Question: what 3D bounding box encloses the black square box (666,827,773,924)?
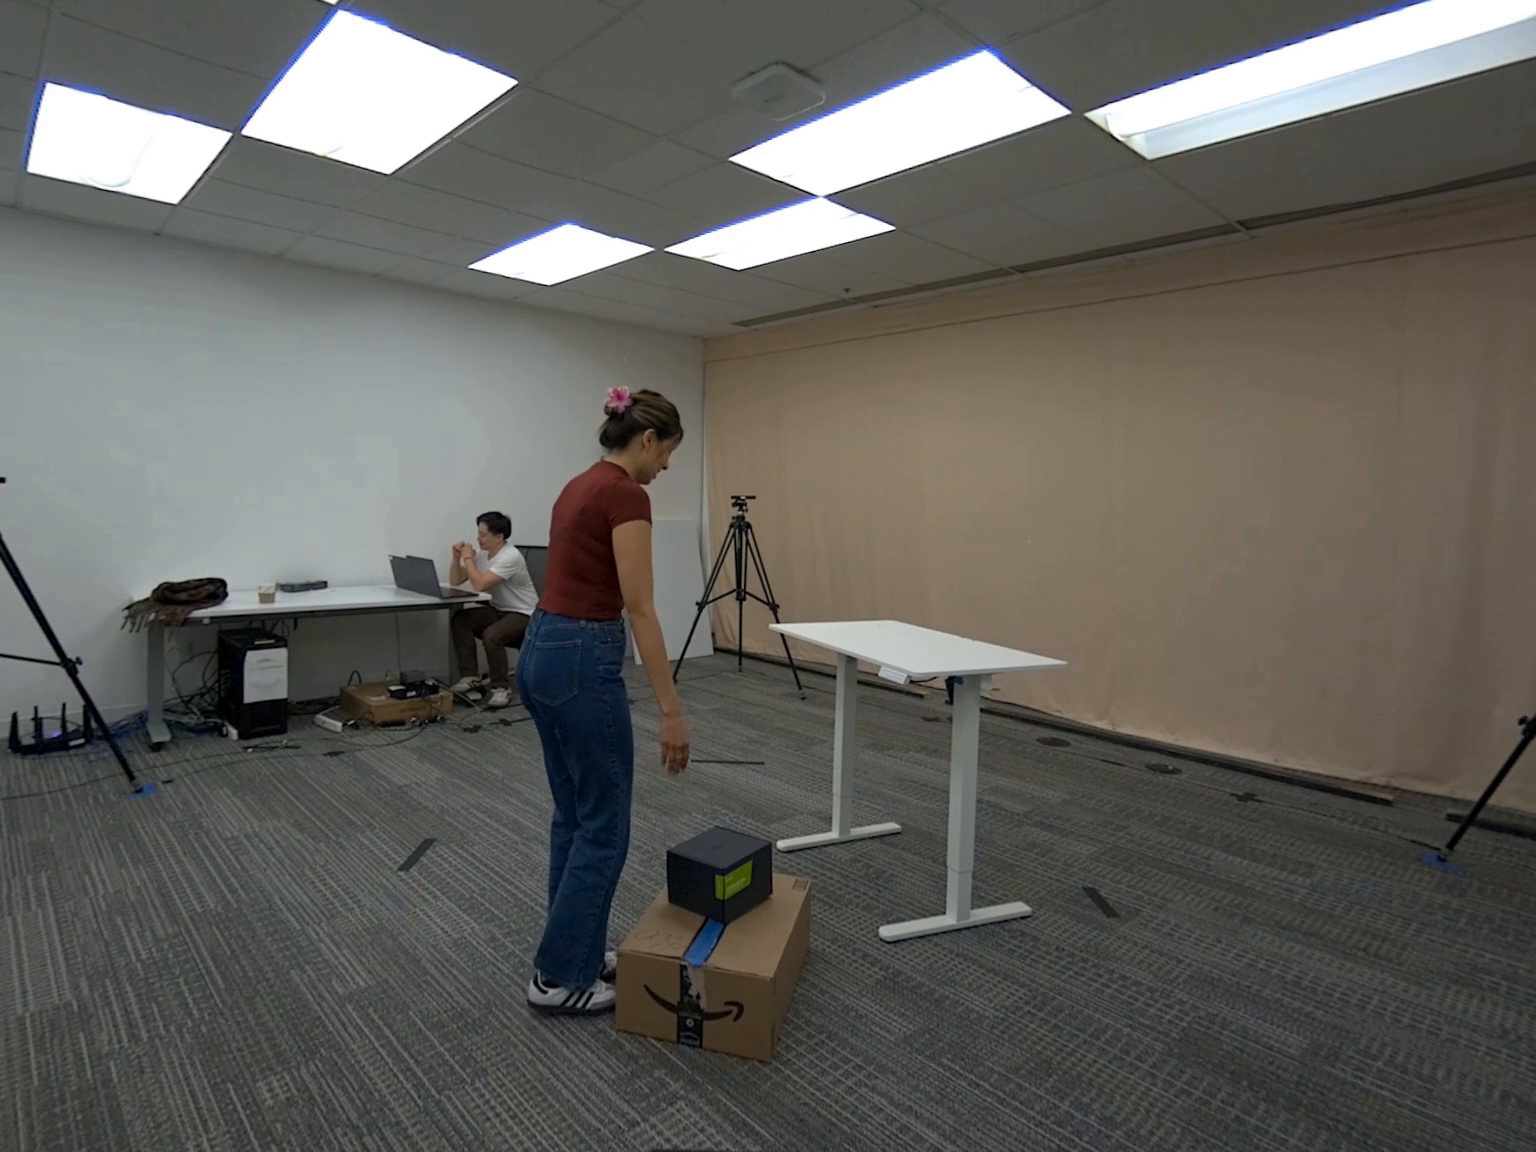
[{"bbox_3d":[-0.144,0.860,2.449,0.222,0.155,0.223,2,6,37],"label":"black square box"}]
